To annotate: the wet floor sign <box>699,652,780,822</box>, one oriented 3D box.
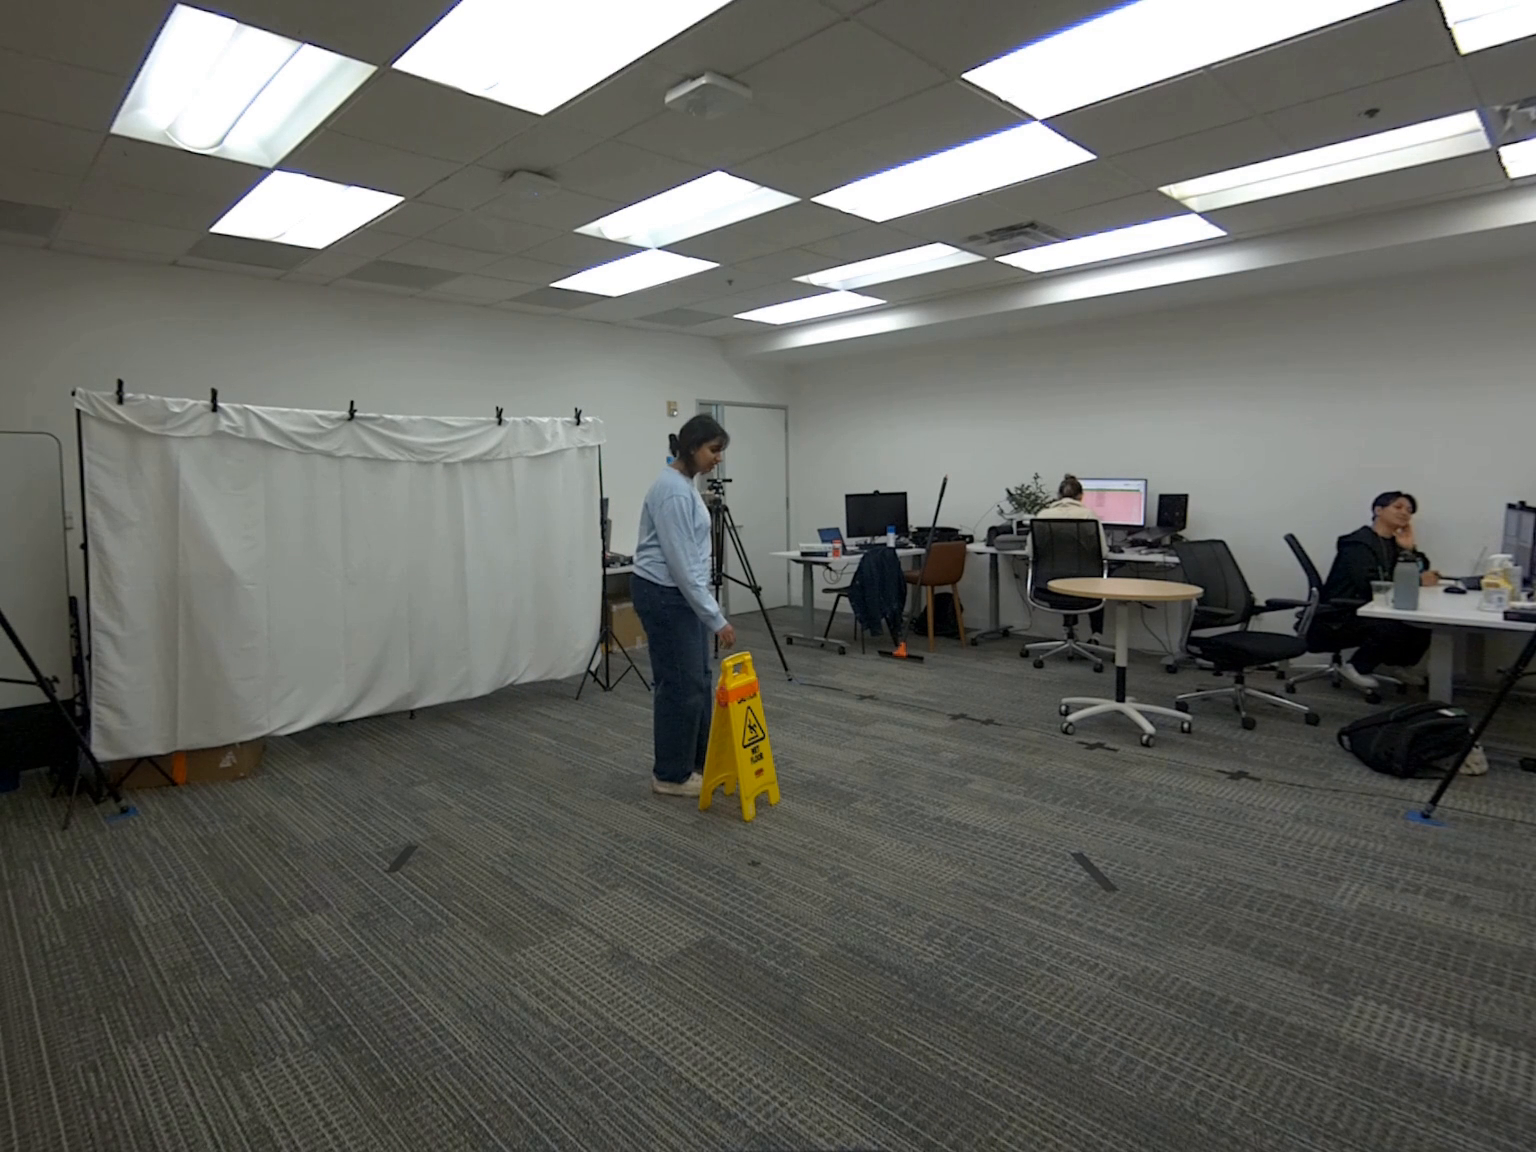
[{"bbox_3d":[-0.133,0.659,3.652,0.297,0.644,0.275,1,4,32],"label":"wet floor sign"}]
